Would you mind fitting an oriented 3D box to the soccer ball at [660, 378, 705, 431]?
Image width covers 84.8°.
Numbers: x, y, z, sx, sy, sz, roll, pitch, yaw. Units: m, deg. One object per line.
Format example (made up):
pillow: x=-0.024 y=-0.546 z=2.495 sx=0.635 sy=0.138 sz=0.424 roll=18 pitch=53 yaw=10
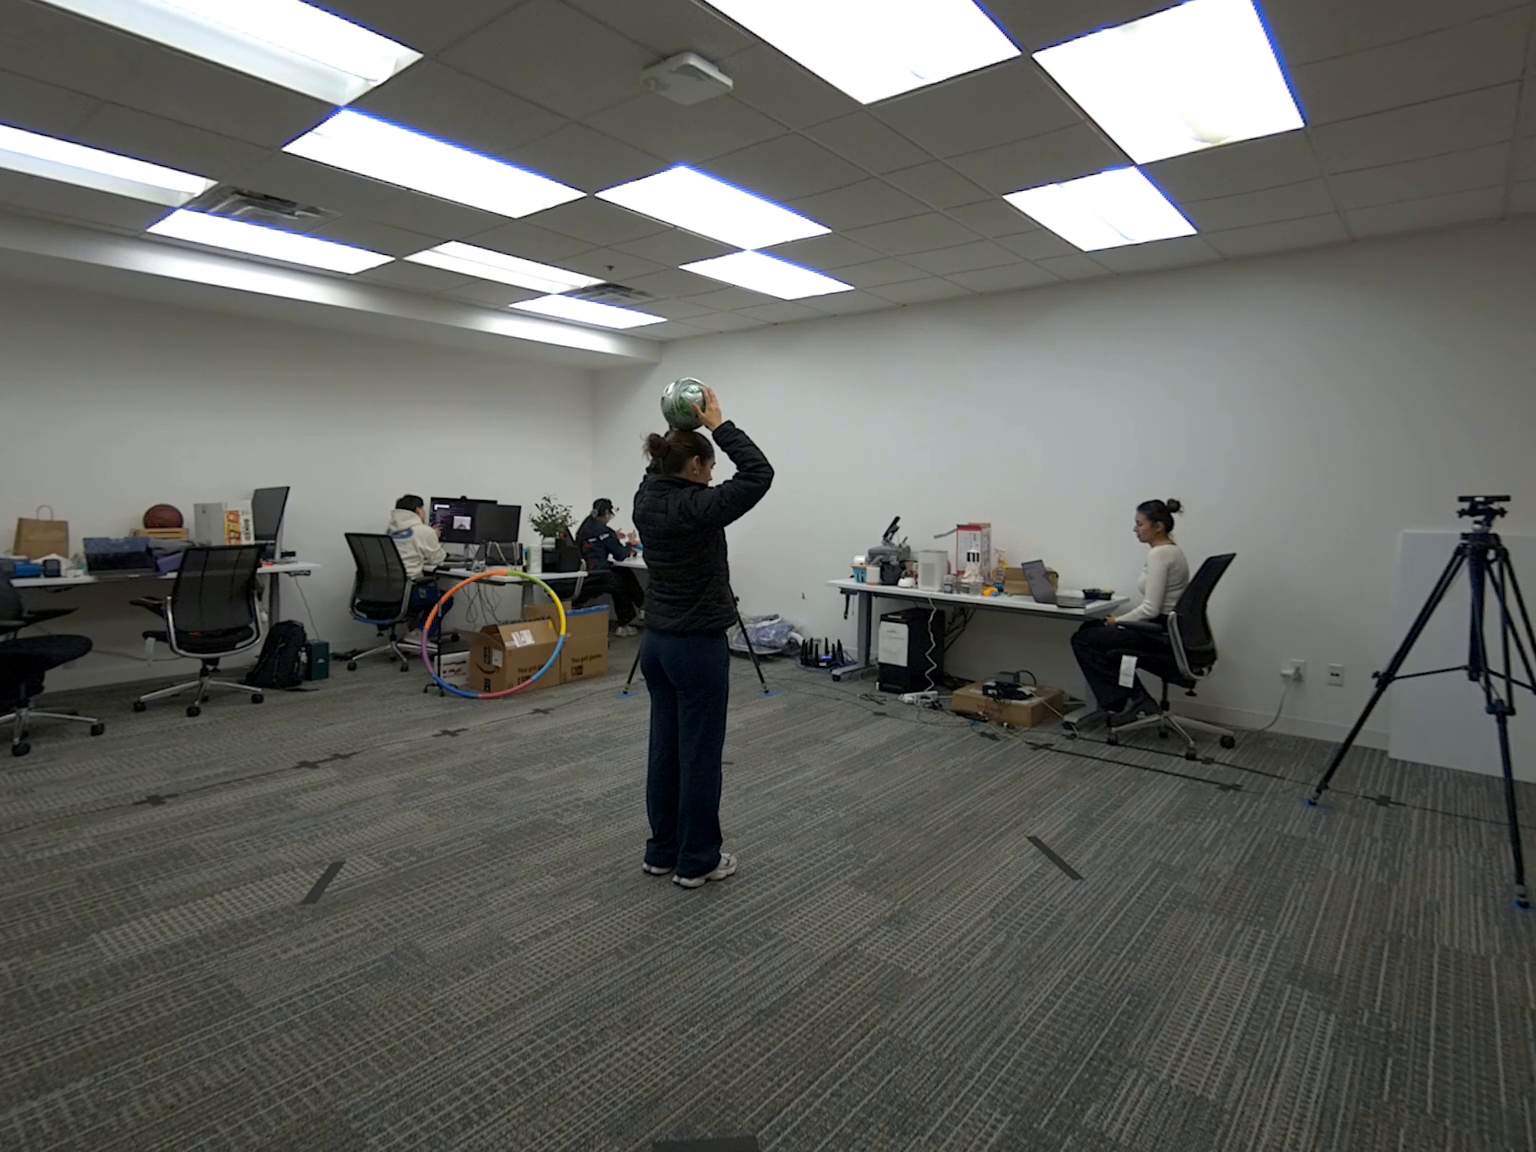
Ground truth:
soccer ball: x=-0.296 y=-0.612 z=3.027 sx=0.187 sy=0.187 sz=0.188 roll=1 pitch=4 yaw=-2
